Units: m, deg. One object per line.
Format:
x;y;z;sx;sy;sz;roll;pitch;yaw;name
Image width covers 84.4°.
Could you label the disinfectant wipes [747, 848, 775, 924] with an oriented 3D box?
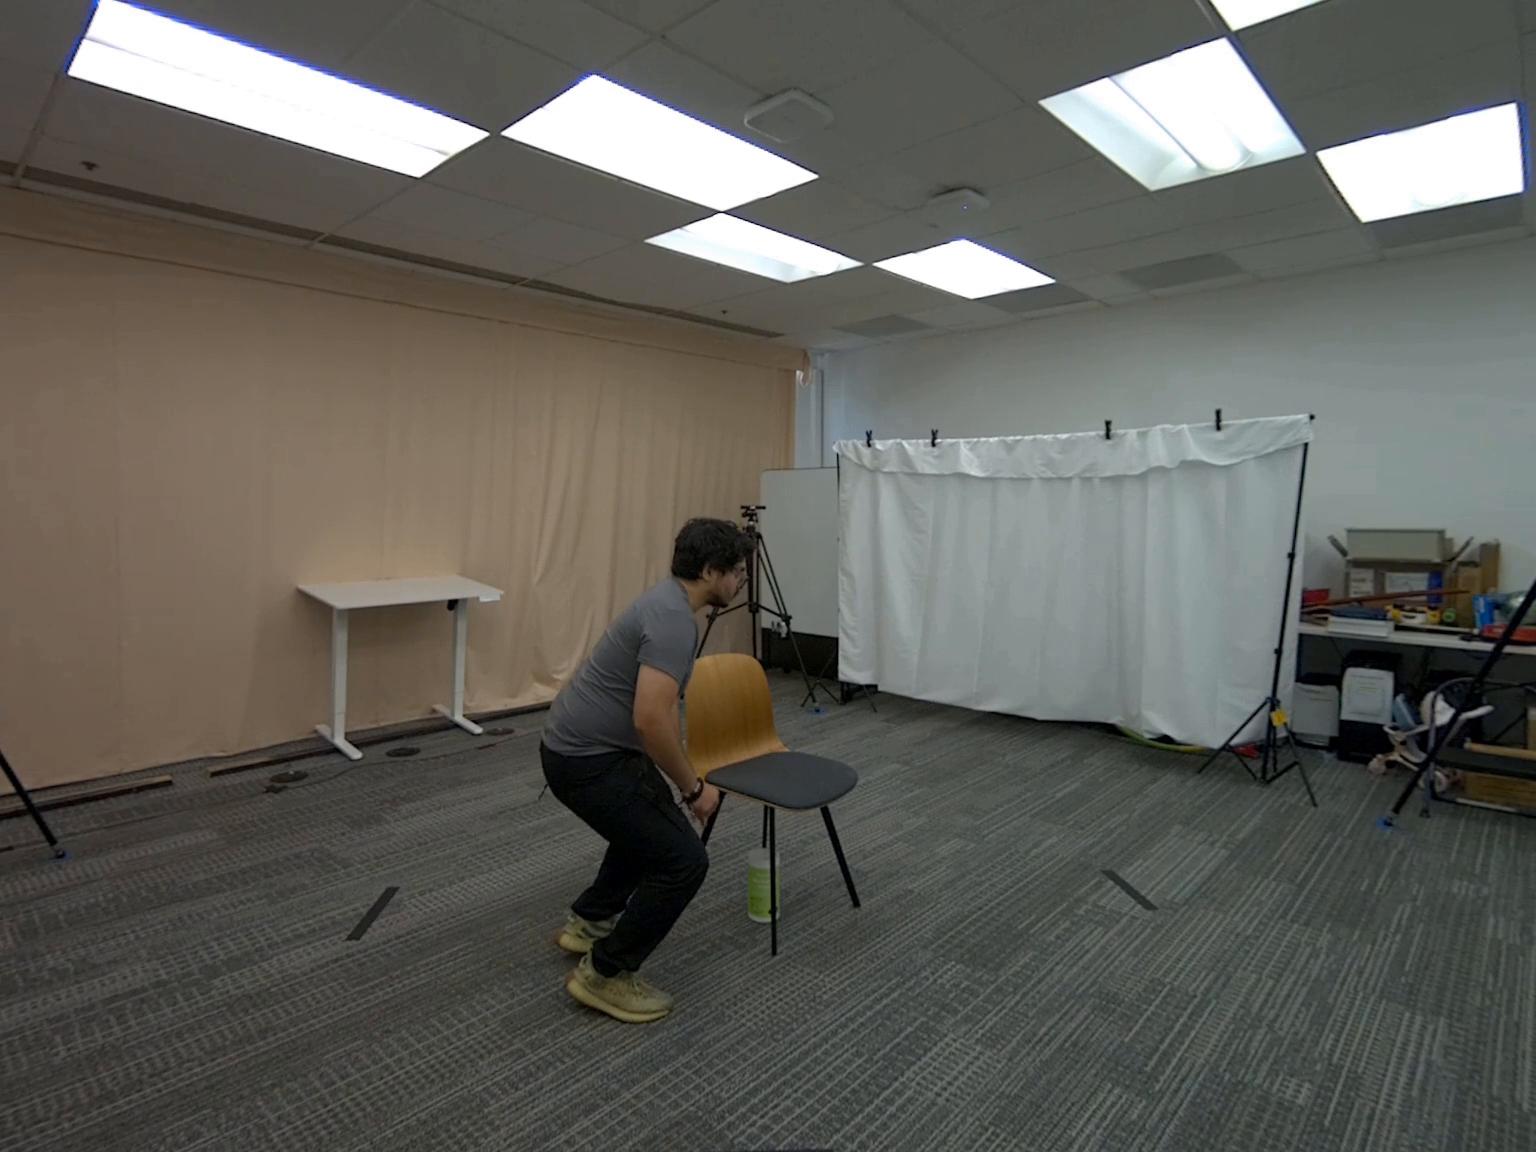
-0.012;1.058;2.845;0.118;0.217;0.118;-1;5;-2;disinfectant wipes
